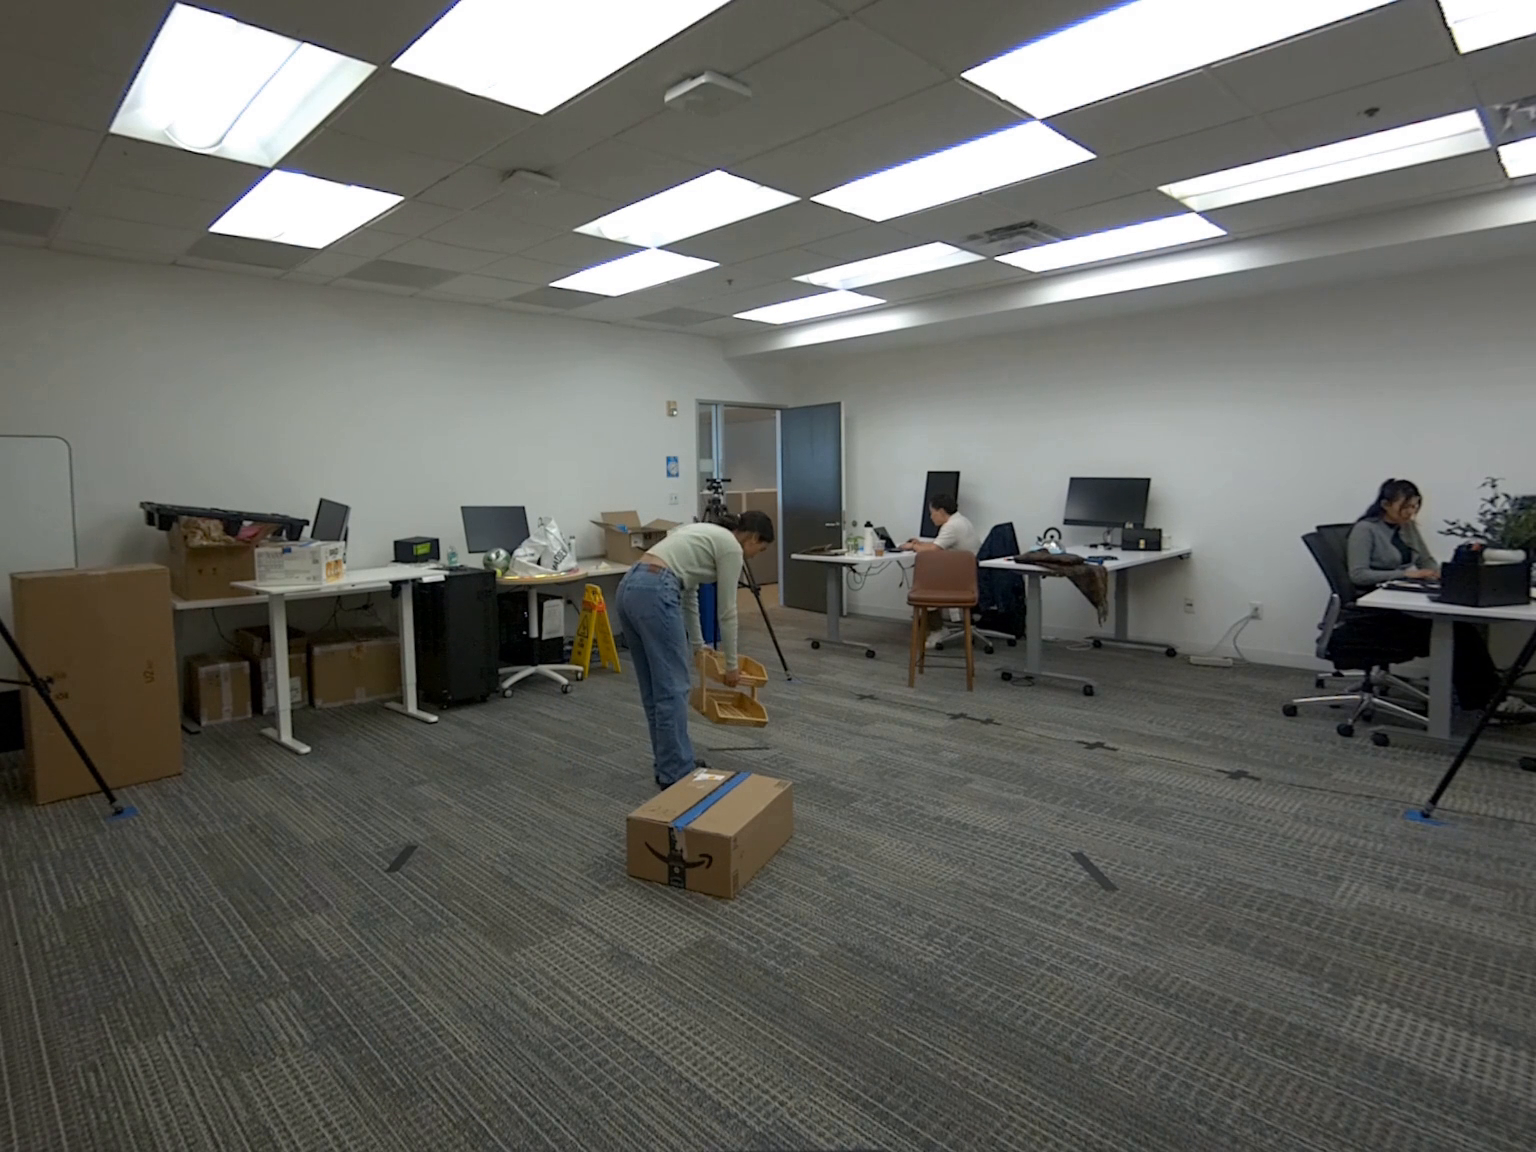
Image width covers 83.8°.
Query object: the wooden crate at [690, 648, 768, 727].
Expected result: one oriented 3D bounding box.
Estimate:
[{"bbox_3d":[-0.169,0.532,4.060,0.314,0.272,0.313,13,6,-38],"label":"wooden crate"}]
